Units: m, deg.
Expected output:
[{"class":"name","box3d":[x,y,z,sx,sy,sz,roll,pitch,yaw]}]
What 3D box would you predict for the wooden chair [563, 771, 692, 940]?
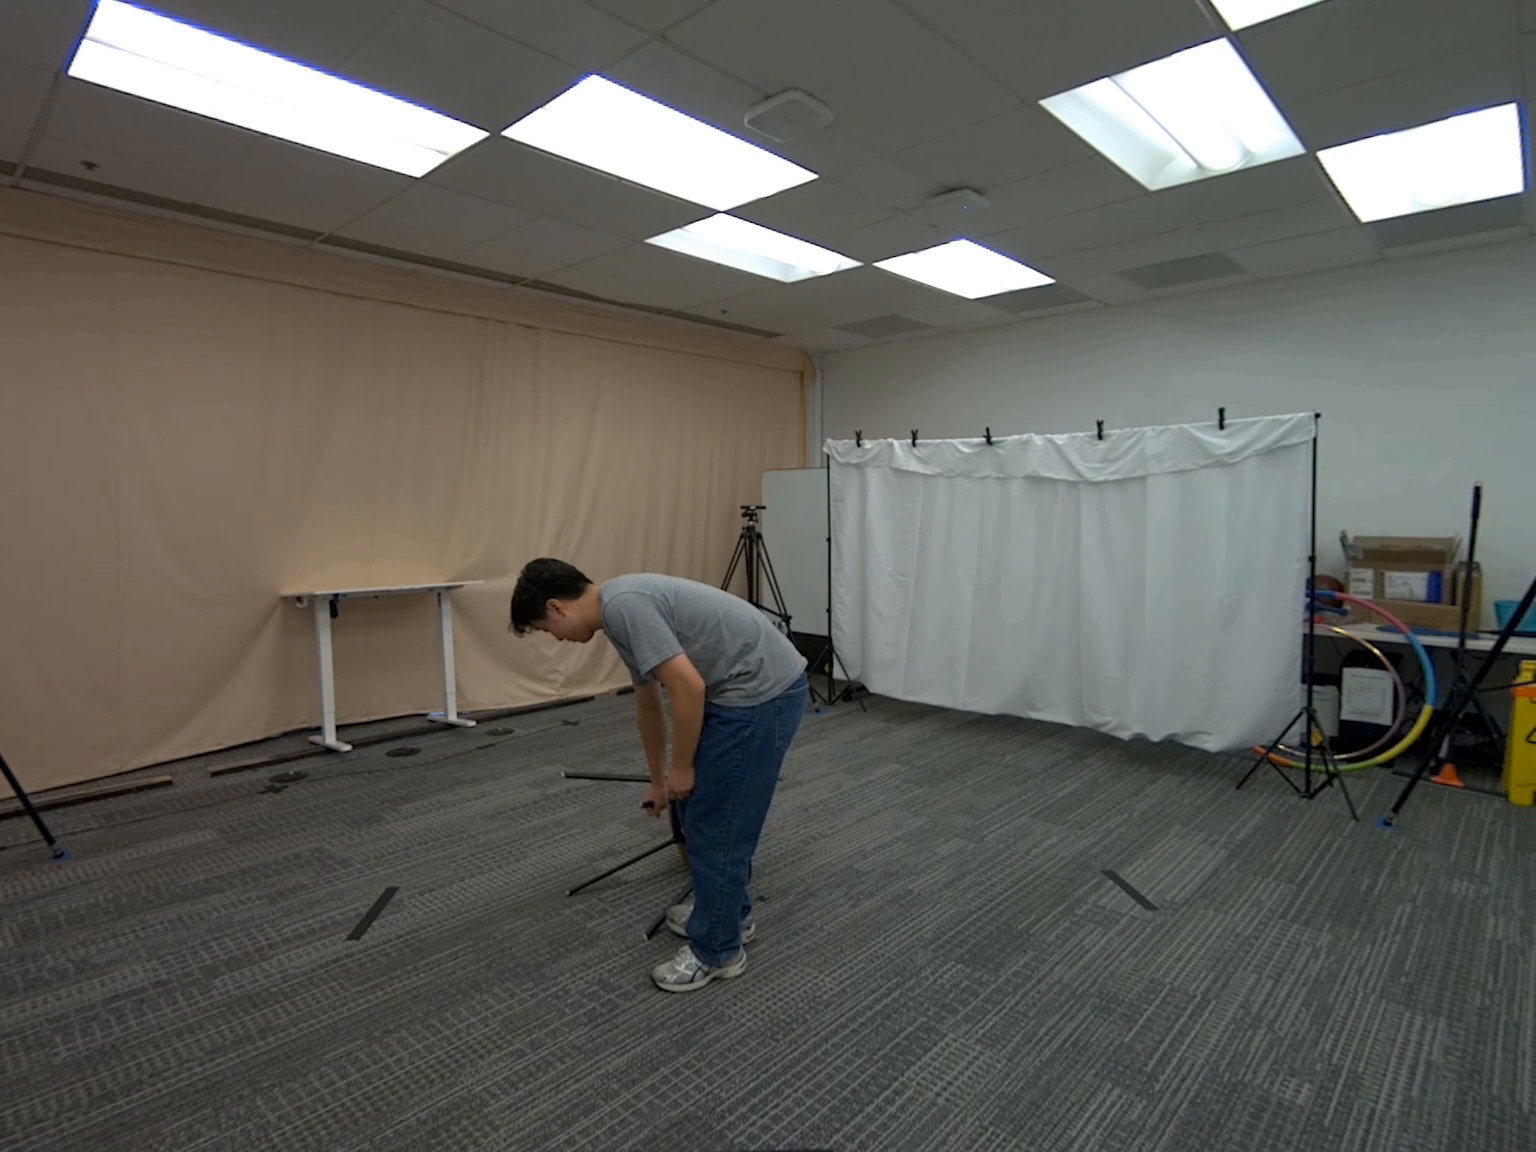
[{"class":"wooden chair","box3d":[-0.273,0.902,3.137,0.540,0.477,0.851,3,6,39]}]
